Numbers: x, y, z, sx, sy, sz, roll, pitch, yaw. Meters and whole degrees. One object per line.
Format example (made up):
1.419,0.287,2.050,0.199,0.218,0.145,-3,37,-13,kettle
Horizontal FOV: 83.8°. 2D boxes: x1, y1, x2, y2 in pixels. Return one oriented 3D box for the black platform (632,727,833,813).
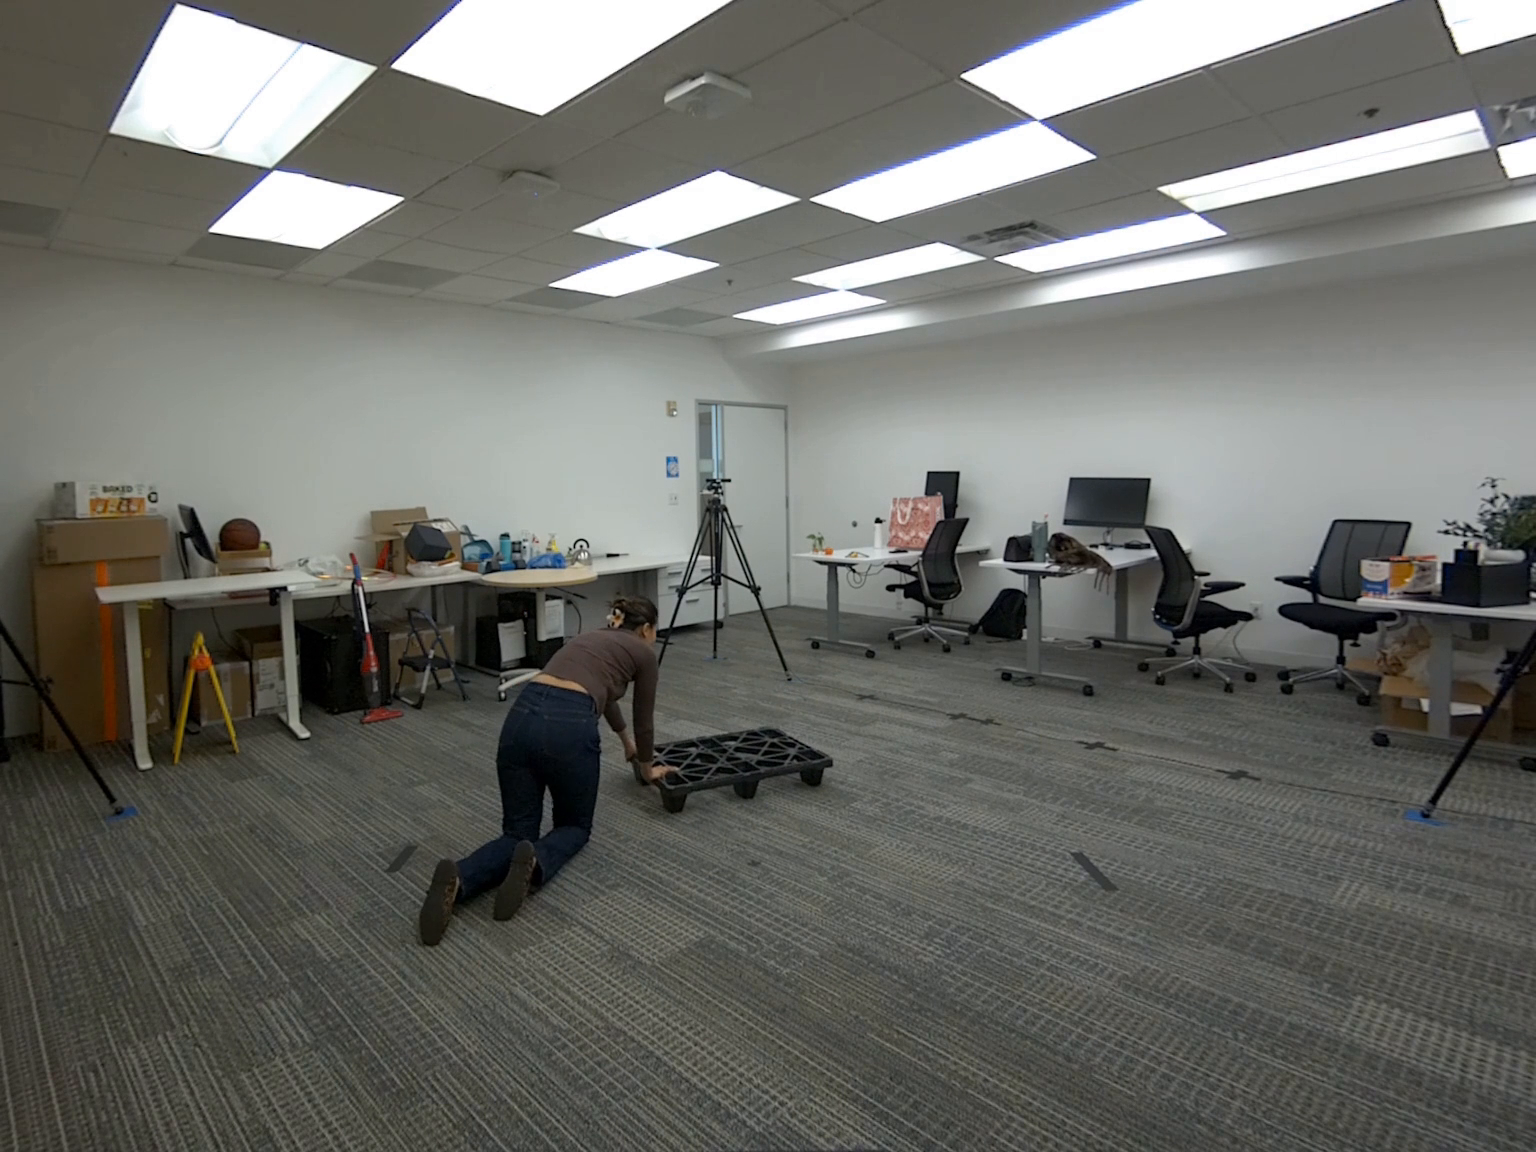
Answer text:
-0.195,0.886,3.947,0.789,0.143,0.620,-4,6,-26,black platform
